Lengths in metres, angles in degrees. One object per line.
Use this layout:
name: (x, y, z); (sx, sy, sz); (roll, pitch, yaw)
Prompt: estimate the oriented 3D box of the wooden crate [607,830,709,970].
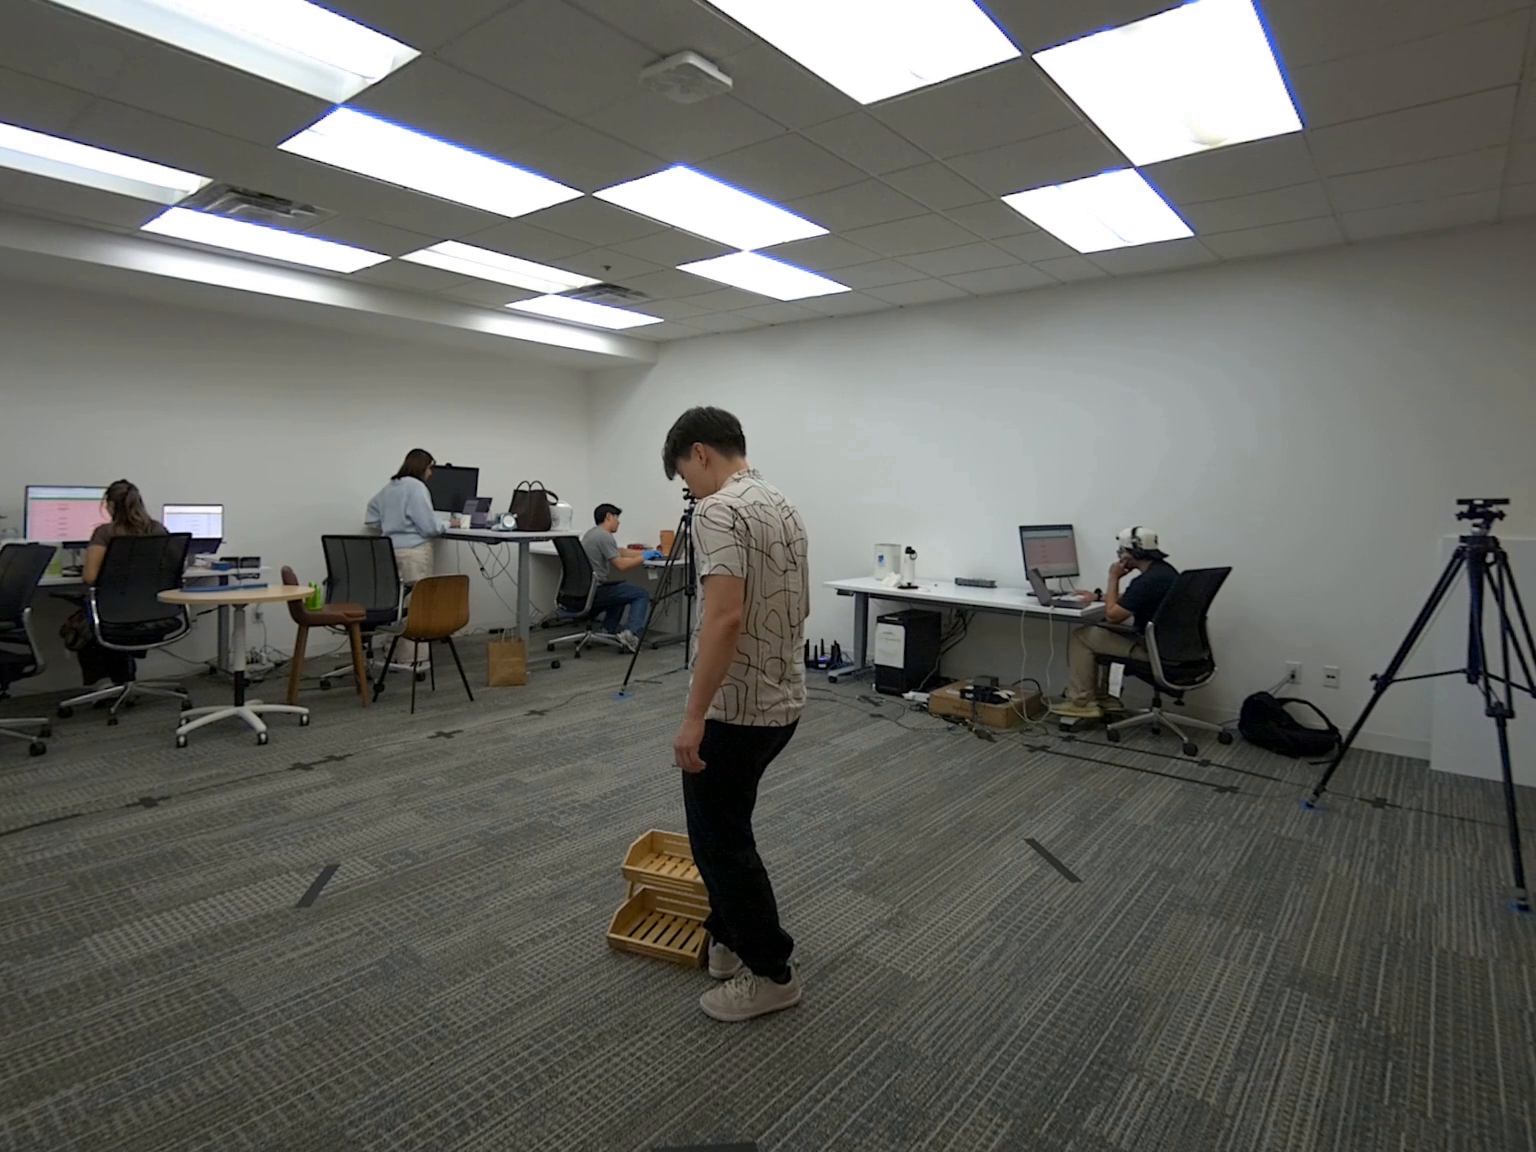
wooden crate: (-0.299, 0.982, 2.620); (0.332, 0.272, 0.296); (3, 4, 20)
